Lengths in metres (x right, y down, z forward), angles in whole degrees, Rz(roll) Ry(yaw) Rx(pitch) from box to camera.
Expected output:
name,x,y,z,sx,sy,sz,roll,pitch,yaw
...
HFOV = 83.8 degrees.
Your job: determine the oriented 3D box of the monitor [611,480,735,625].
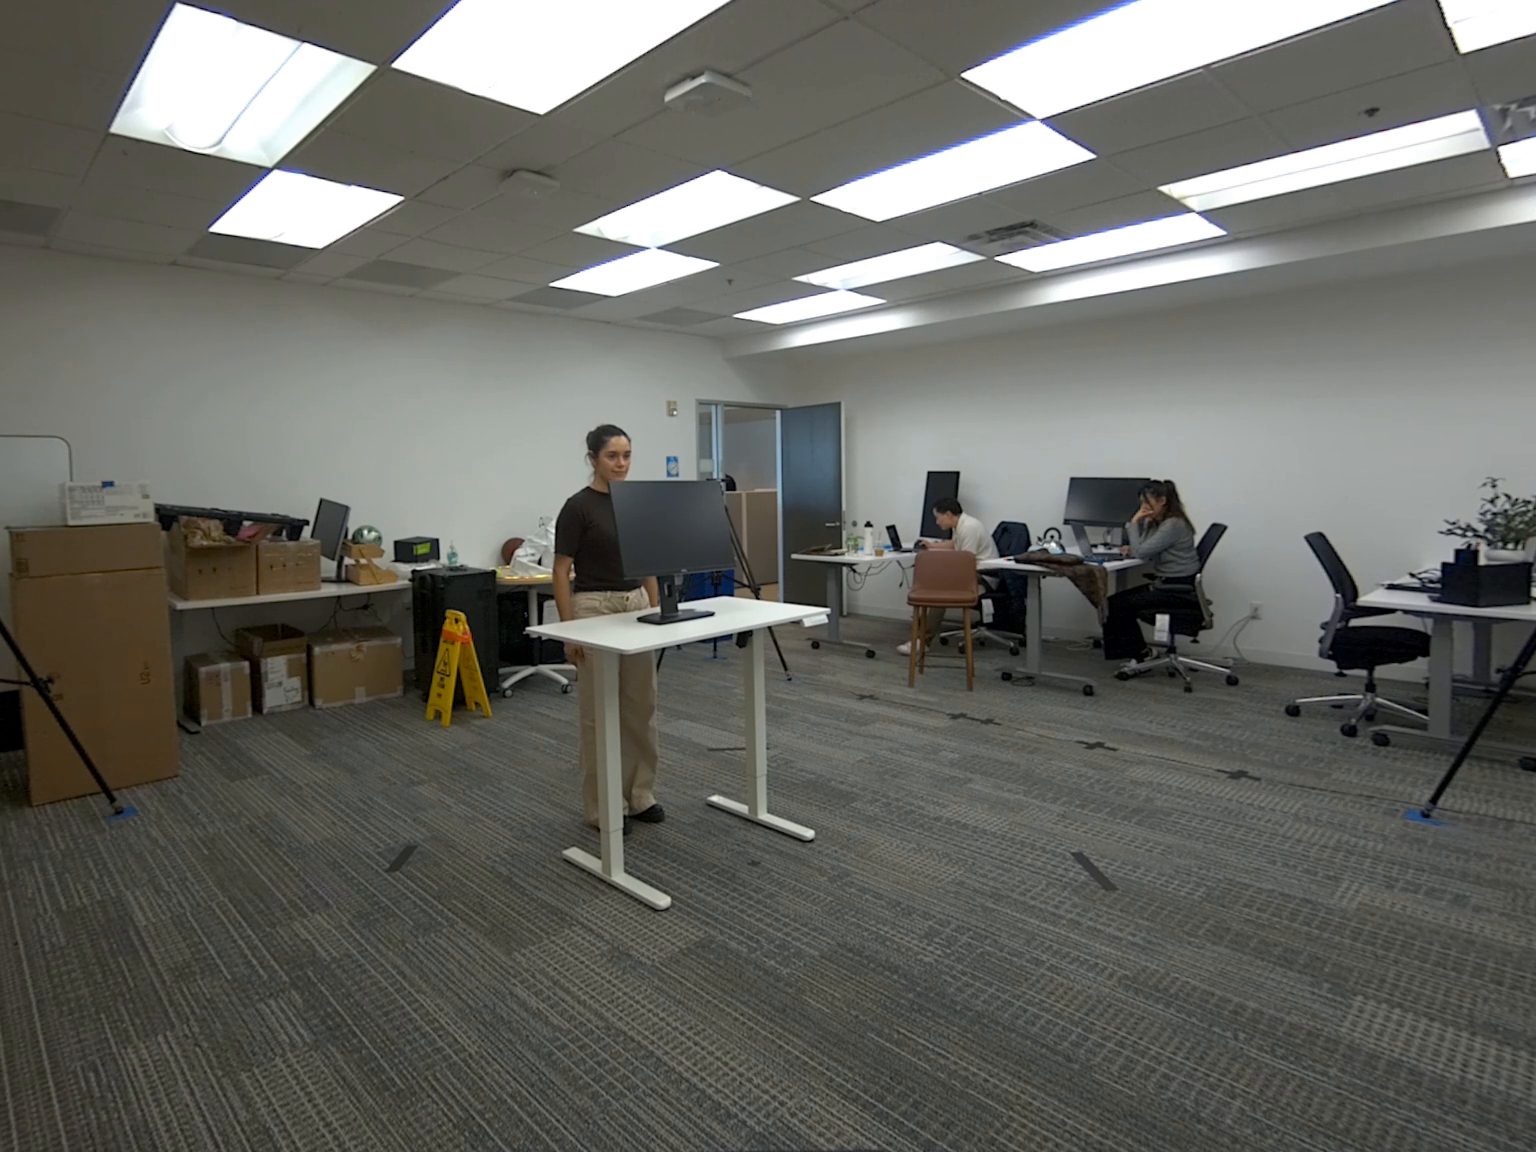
name,x,y,z,sx,sy,sz,roll,pitch,yaw
monitor,-0.358,-0.094,3.185,0.192,0.521,0.525,0,4,44
